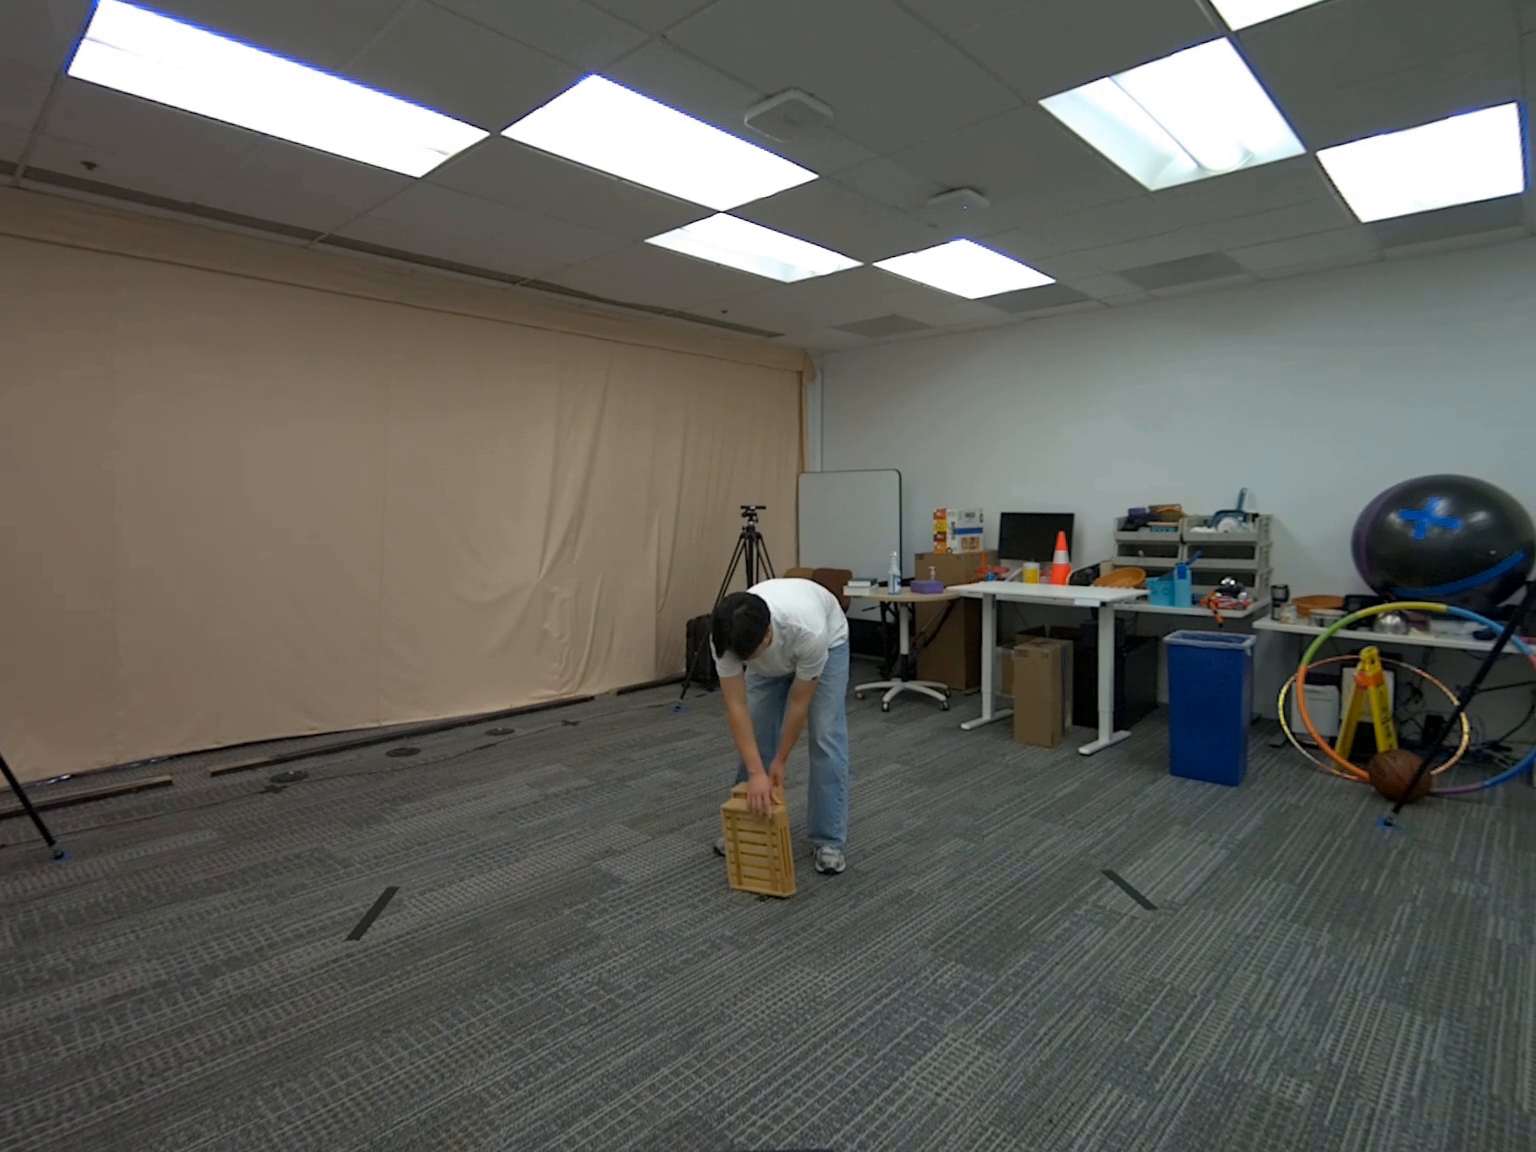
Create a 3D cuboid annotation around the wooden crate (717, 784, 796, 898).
[{"bbox_3d":[-0.004,0.953,3.131,0.310,0.324,0.266,-4,4,32],"label":"wooden crate"}]
